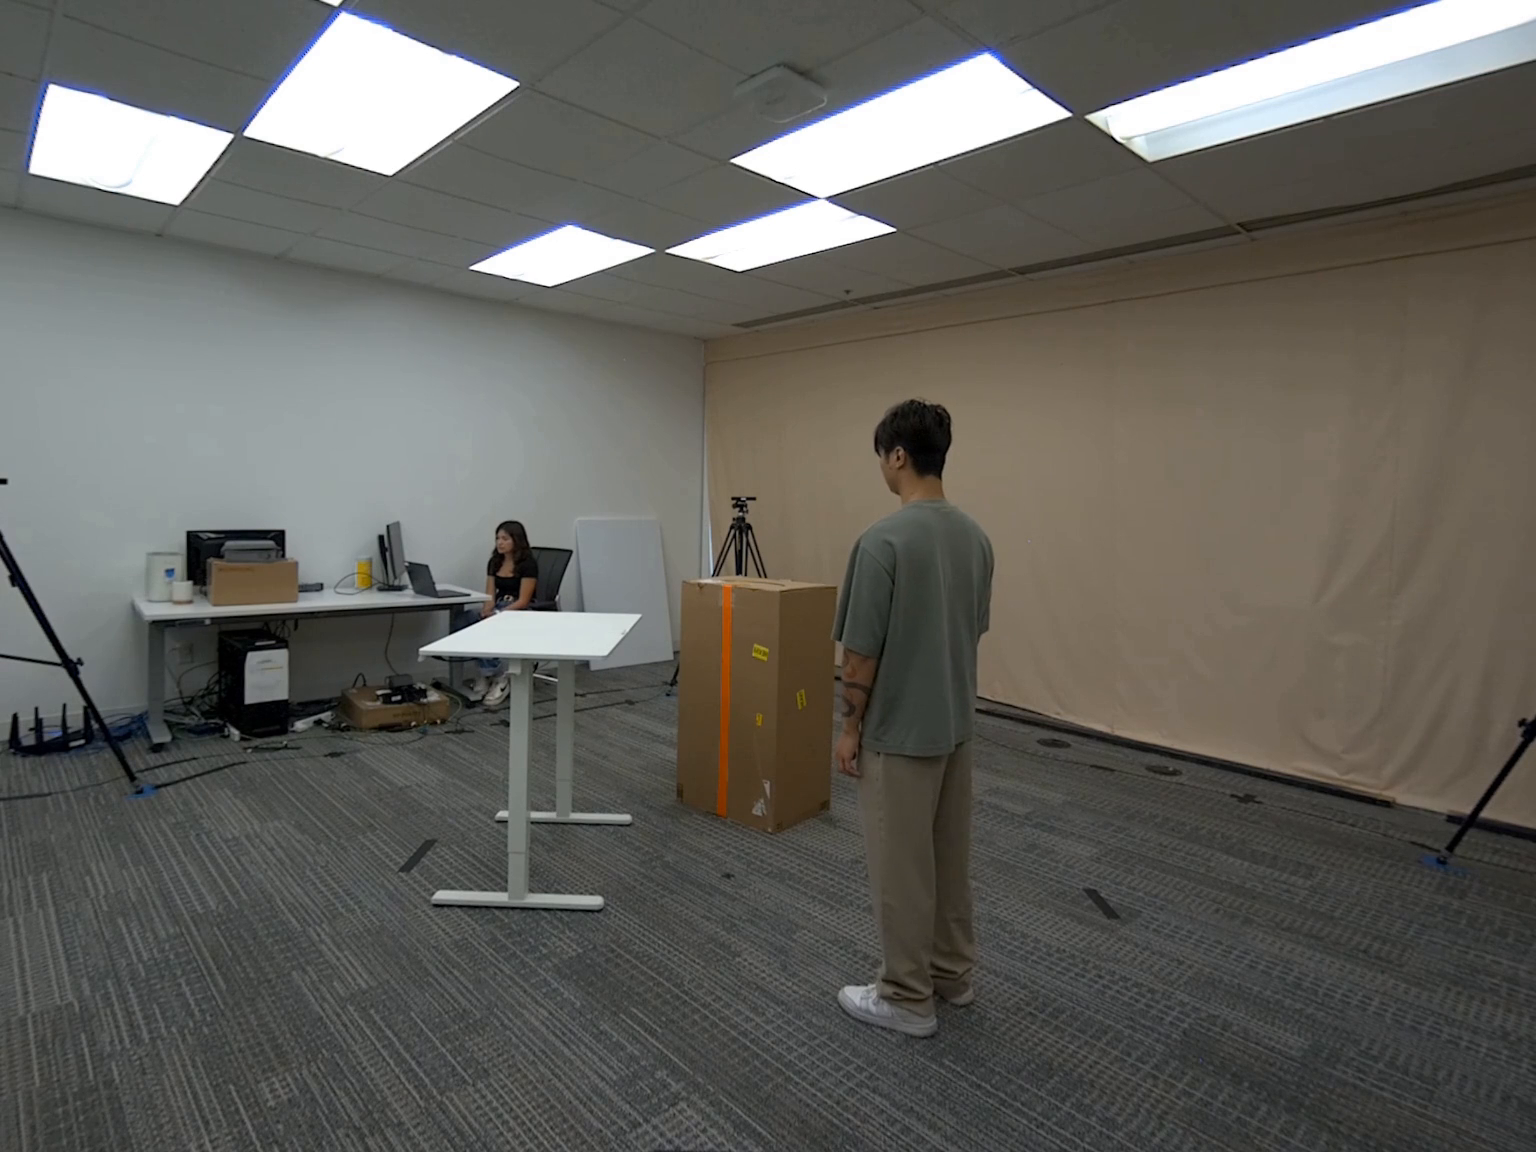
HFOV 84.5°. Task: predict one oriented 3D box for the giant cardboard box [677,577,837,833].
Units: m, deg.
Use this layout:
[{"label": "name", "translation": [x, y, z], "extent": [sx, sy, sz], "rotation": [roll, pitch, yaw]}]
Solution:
[{"label": "giant cardboard box", "translation": [-0.063, 0.537, 3.821], "extent": [0.592, 1.023, 0.416], "rotation": [5, 4, 40]}]
